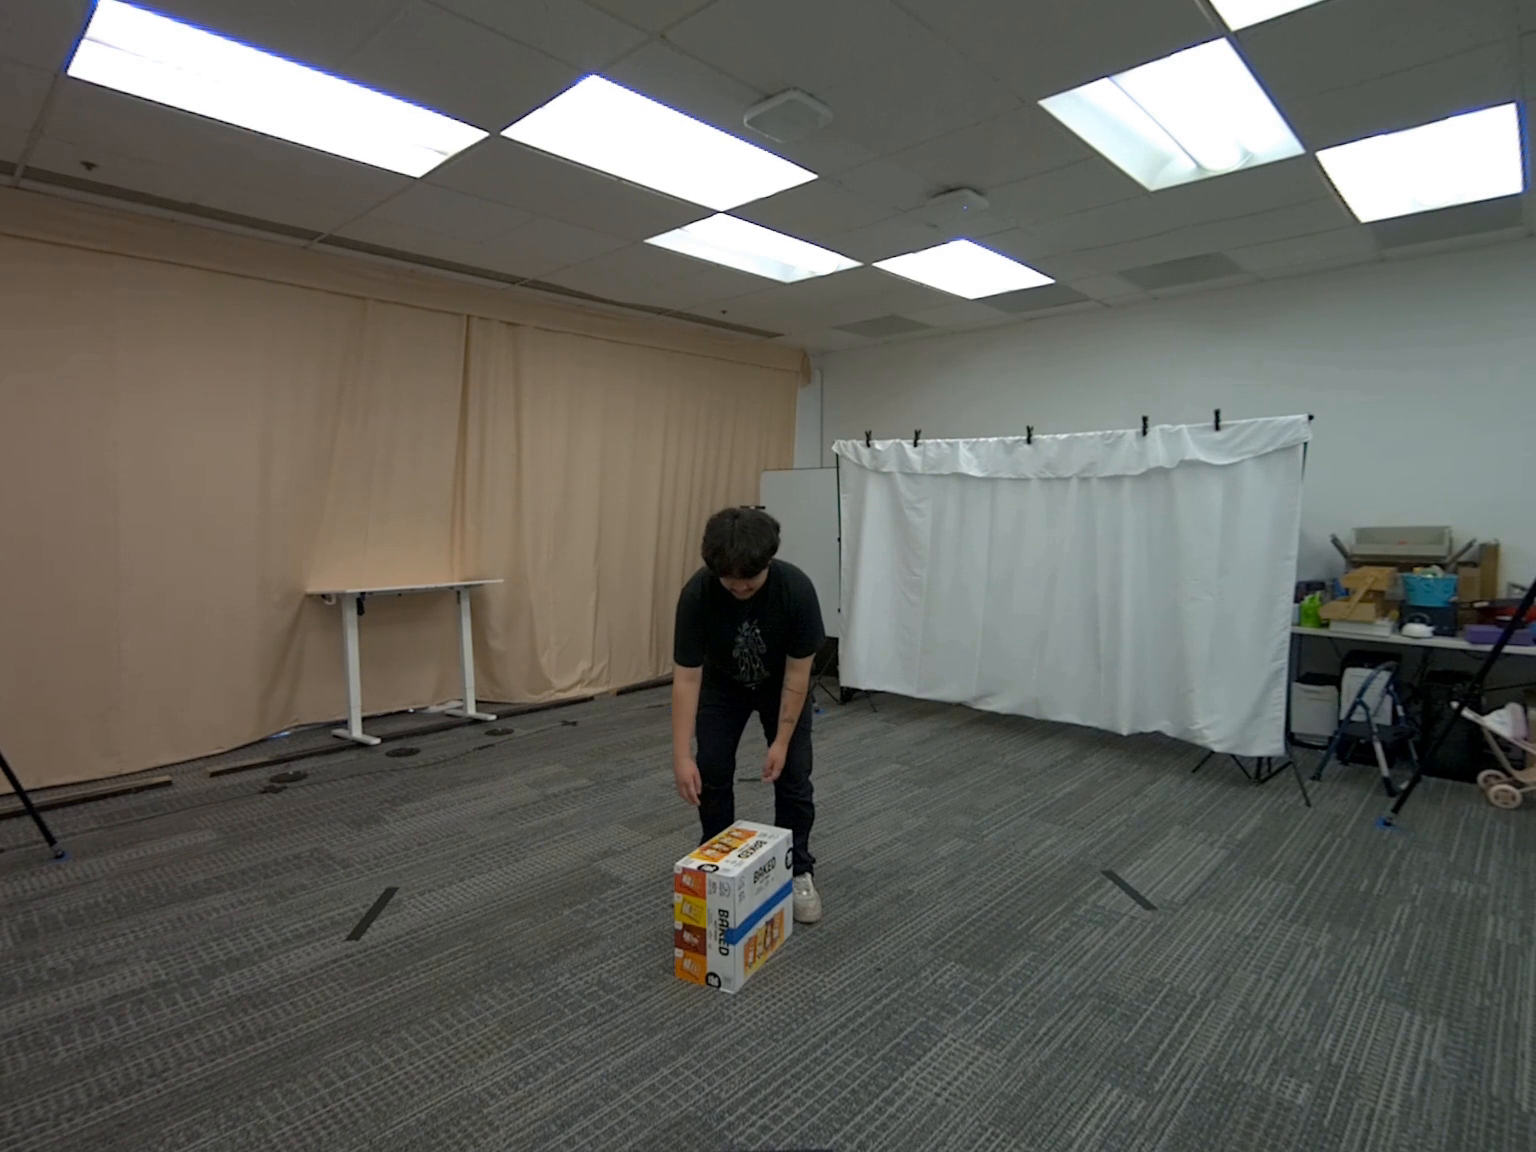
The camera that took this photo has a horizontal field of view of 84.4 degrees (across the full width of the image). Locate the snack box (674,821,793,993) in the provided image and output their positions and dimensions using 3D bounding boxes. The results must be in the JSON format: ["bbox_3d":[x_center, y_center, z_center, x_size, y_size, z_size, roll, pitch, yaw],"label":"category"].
[{"bbox_3d":[-0.097,1.004,2.612,0.211,0.340,0.395,1,3,27],"label":"snack box"}]
